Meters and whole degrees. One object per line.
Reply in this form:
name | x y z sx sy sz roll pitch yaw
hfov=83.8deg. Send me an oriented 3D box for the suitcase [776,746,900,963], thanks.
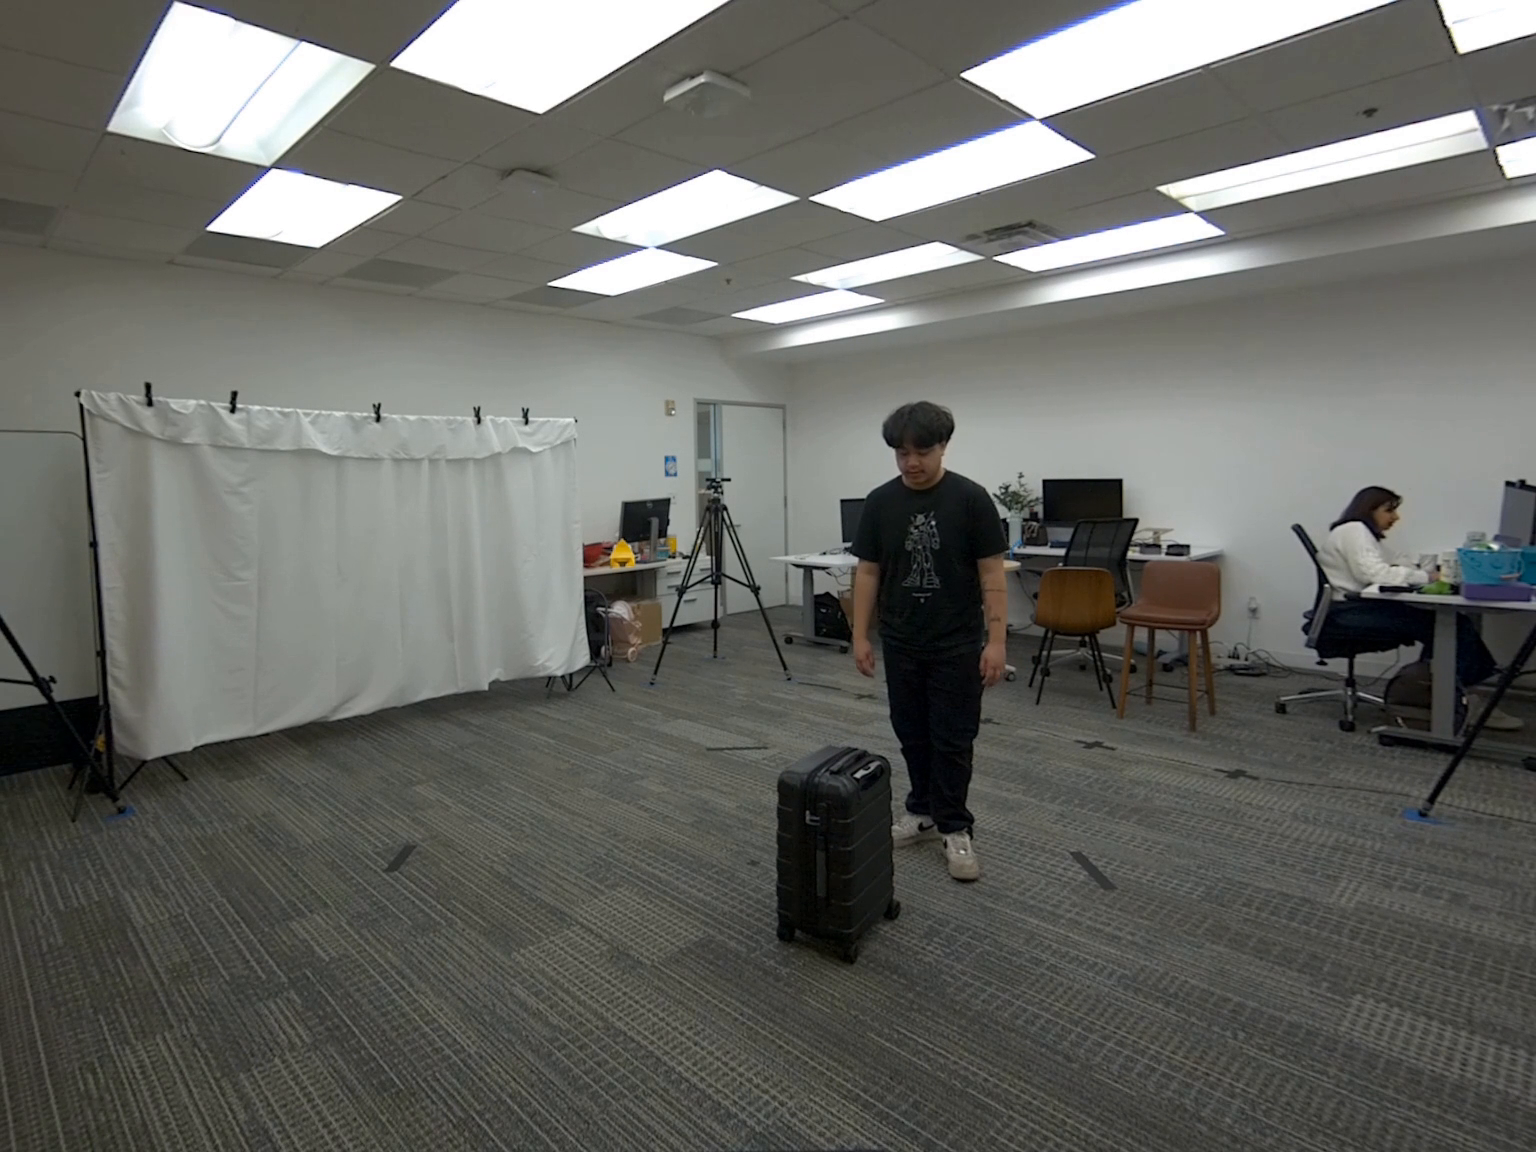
suitcase | 0.215 0.820 2.609 0.255 0.546 0.367 1 7 33
